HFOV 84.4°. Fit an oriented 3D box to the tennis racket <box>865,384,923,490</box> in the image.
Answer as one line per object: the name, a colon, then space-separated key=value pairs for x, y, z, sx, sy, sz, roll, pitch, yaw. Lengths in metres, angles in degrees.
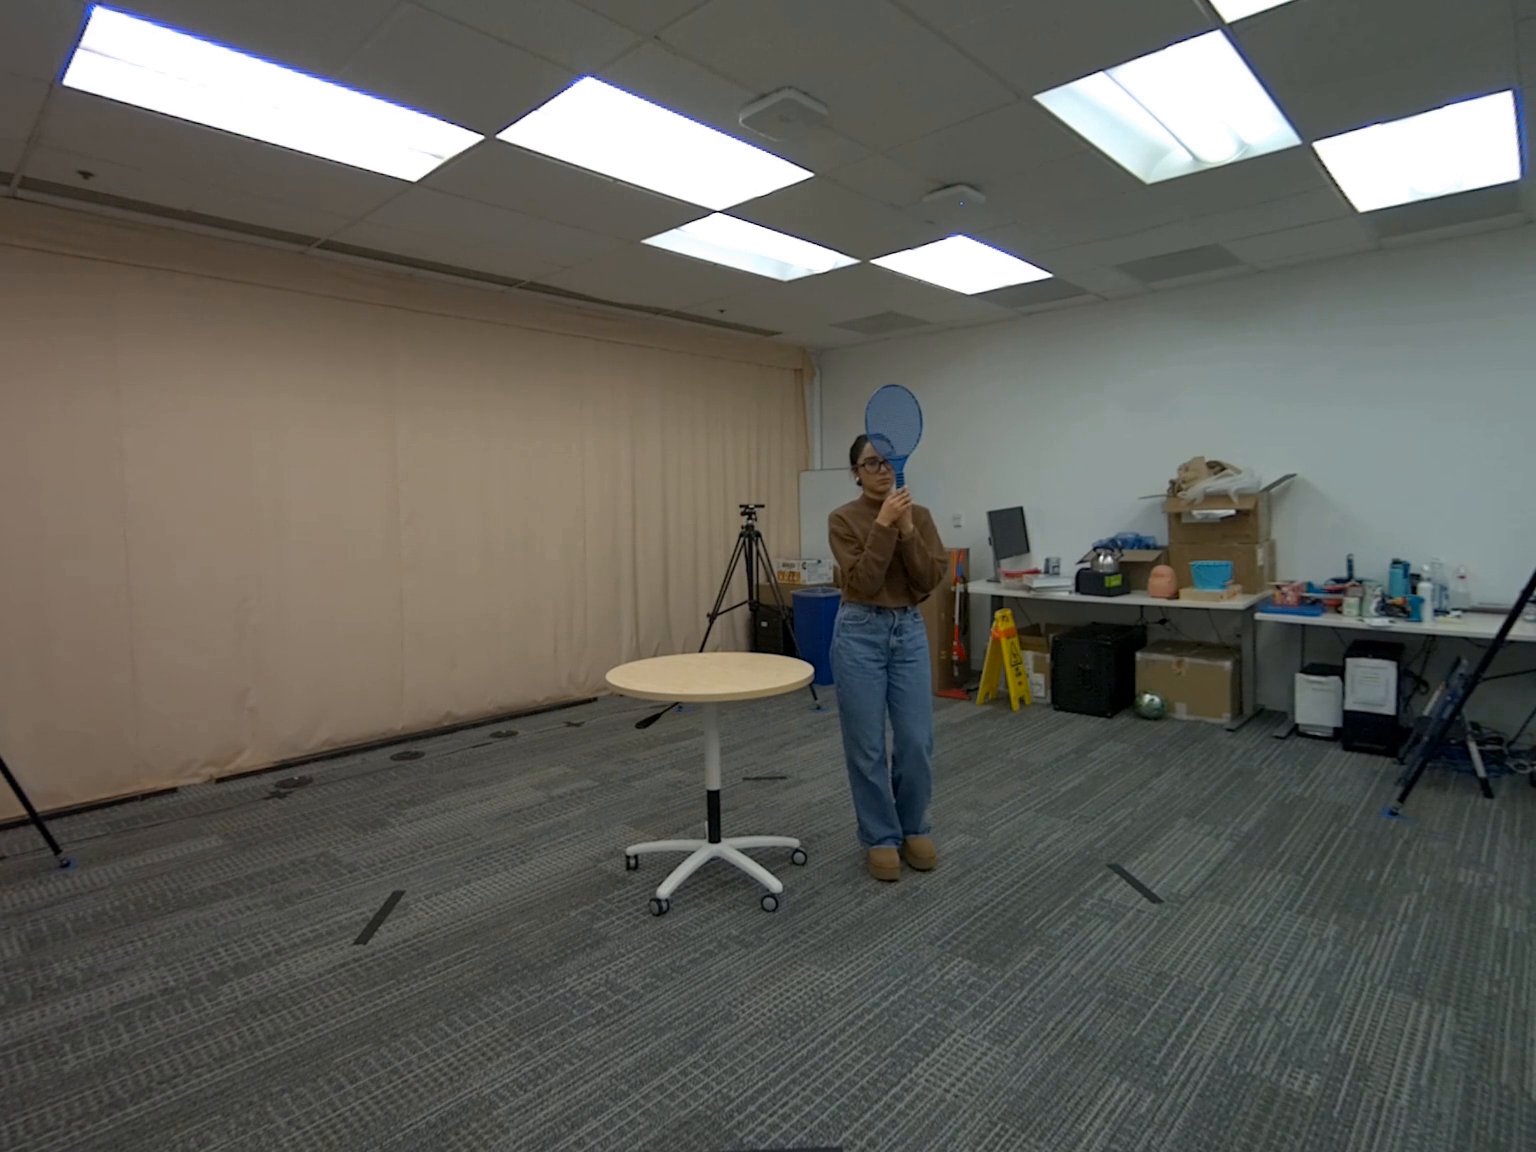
tennis racket: x=0.458 y=-0.469 z=3.010 sx=0.212 sy=0.430 sz=0.032 roll=-10 pitch=8 yaw=-5
